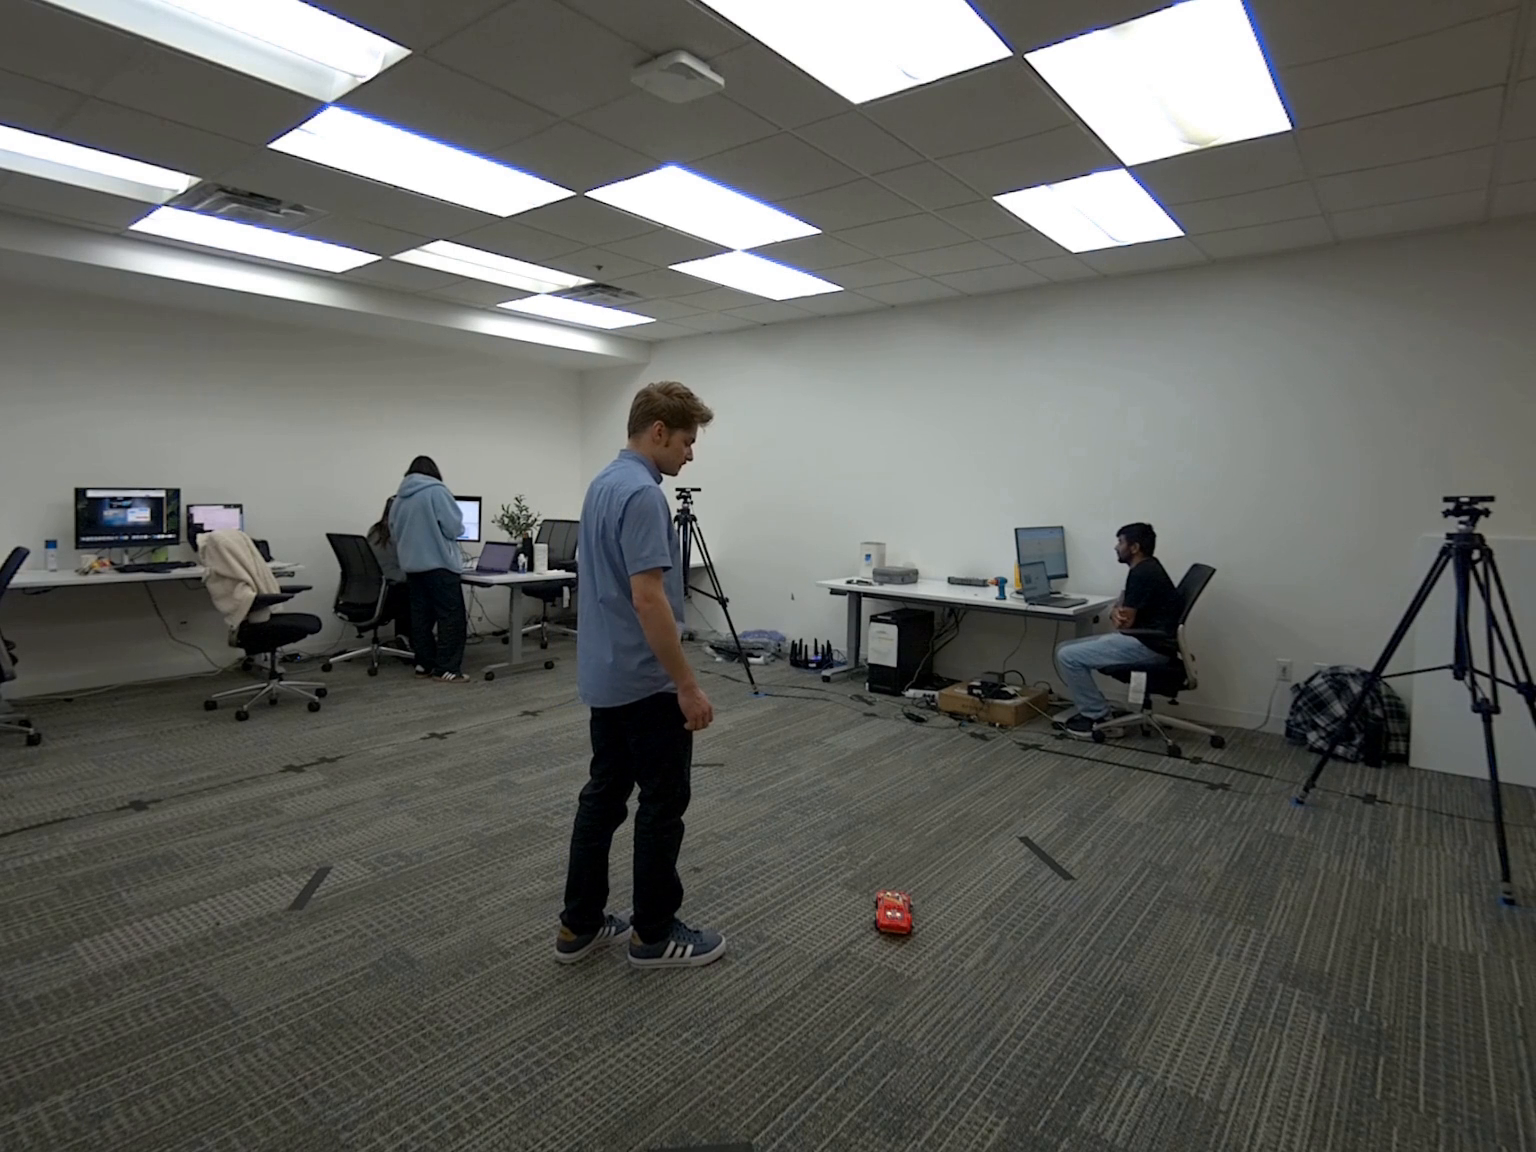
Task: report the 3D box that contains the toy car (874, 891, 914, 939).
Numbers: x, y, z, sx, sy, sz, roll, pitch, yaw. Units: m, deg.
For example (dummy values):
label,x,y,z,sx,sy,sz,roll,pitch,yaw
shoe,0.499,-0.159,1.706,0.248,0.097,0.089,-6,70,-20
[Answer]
label,x,y,z,sx,sy,sz,roll,pitch,yaw
toy car,0.404,1.086,2.744,0.132,0.084,0.250,2,-5,8
